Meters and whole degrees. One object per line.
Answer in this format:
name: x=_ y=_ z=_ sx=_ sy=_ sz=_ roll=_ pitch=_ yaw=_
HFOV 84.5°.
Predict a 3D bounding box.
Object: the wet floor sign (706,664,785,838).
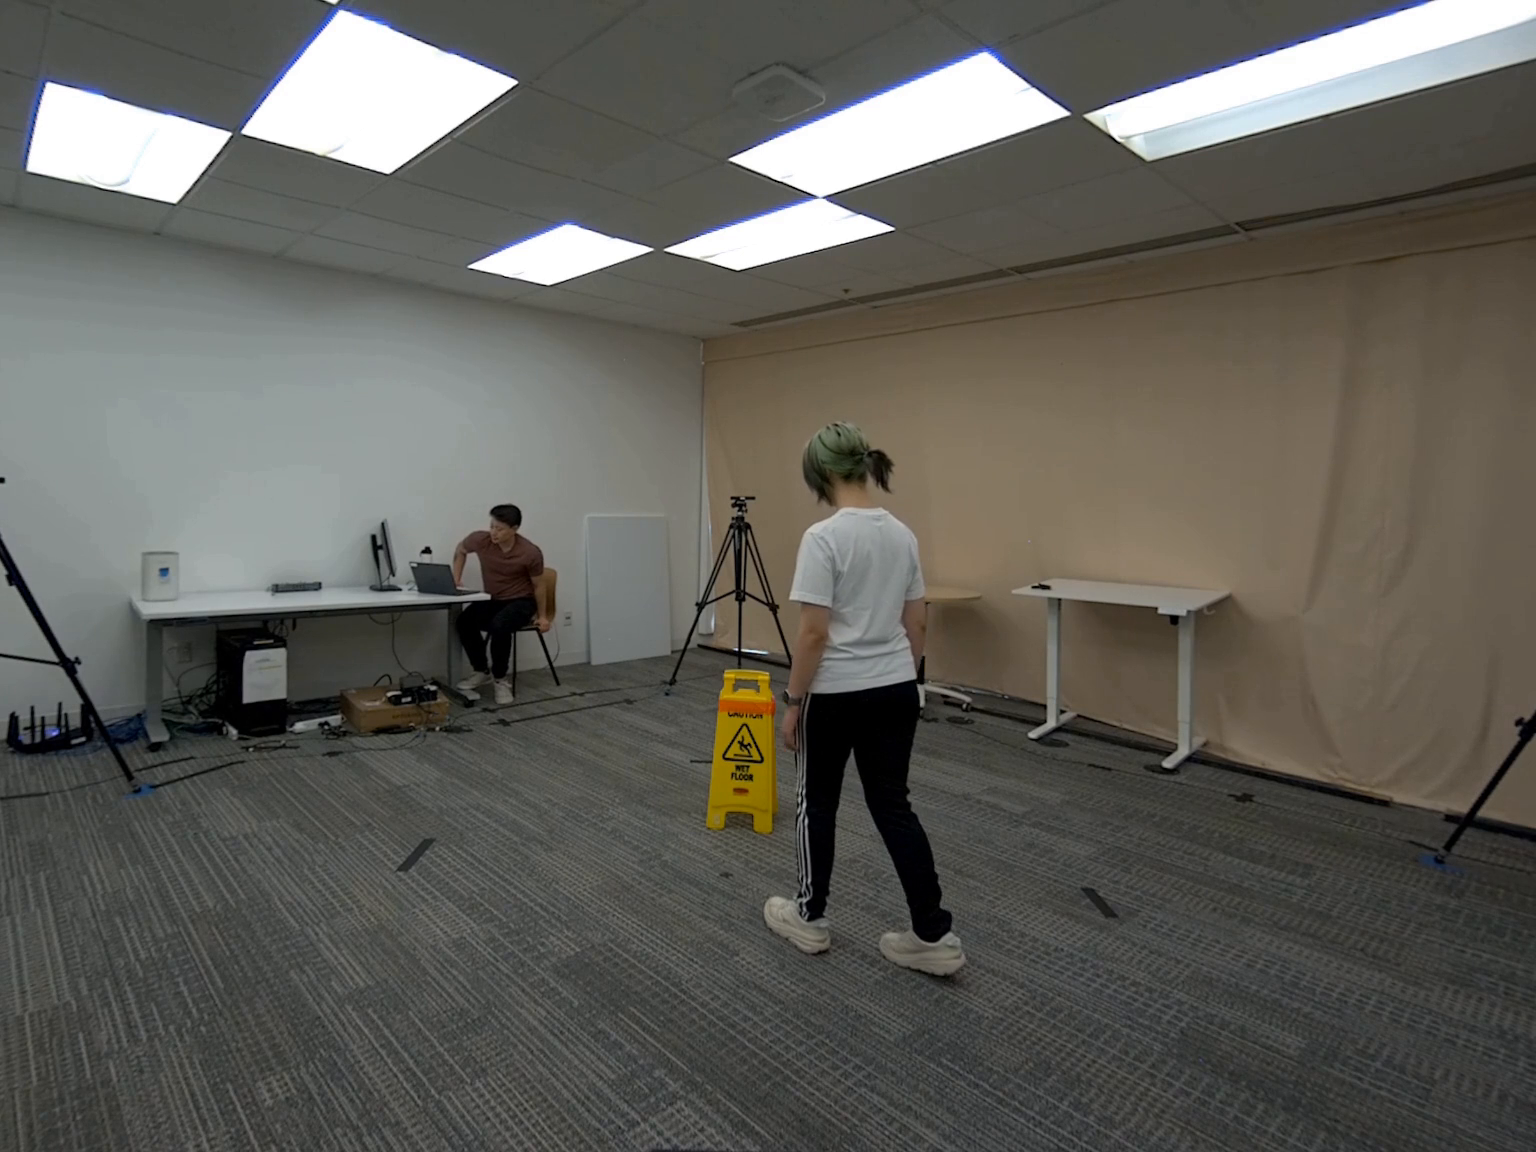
wet floor sign: x=-0.095 y=0.735 z=3.634 sx=0.284 sy=0.645 sz=0.289 roll=2 pitch=3 yaw=6
